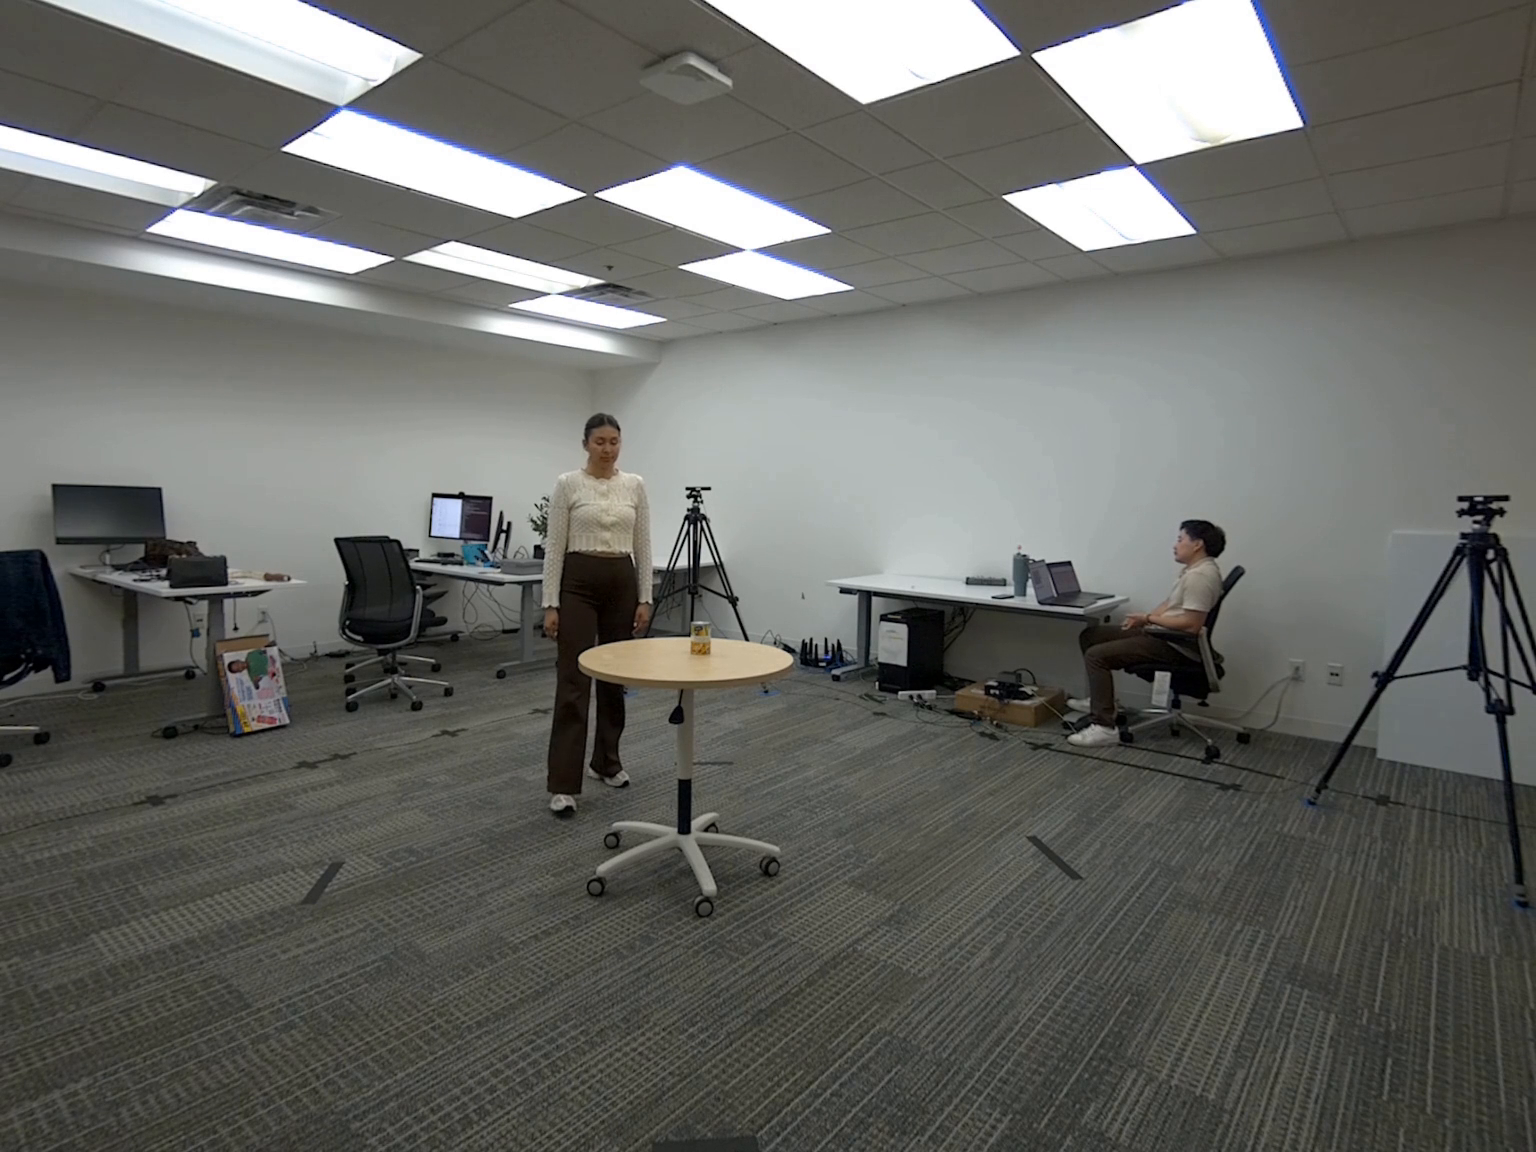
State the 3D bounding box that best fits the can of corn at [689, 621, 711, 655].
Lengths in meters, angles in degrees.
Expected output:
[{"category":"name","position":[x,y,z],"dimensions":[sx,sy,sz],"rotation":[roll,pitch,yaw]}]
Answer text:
[{"category":"can of corn","position":[-0.259,0.225,3.113],"dimensions":[0.074,0.111,0.074],"rotation":[1,2,-2]}]
